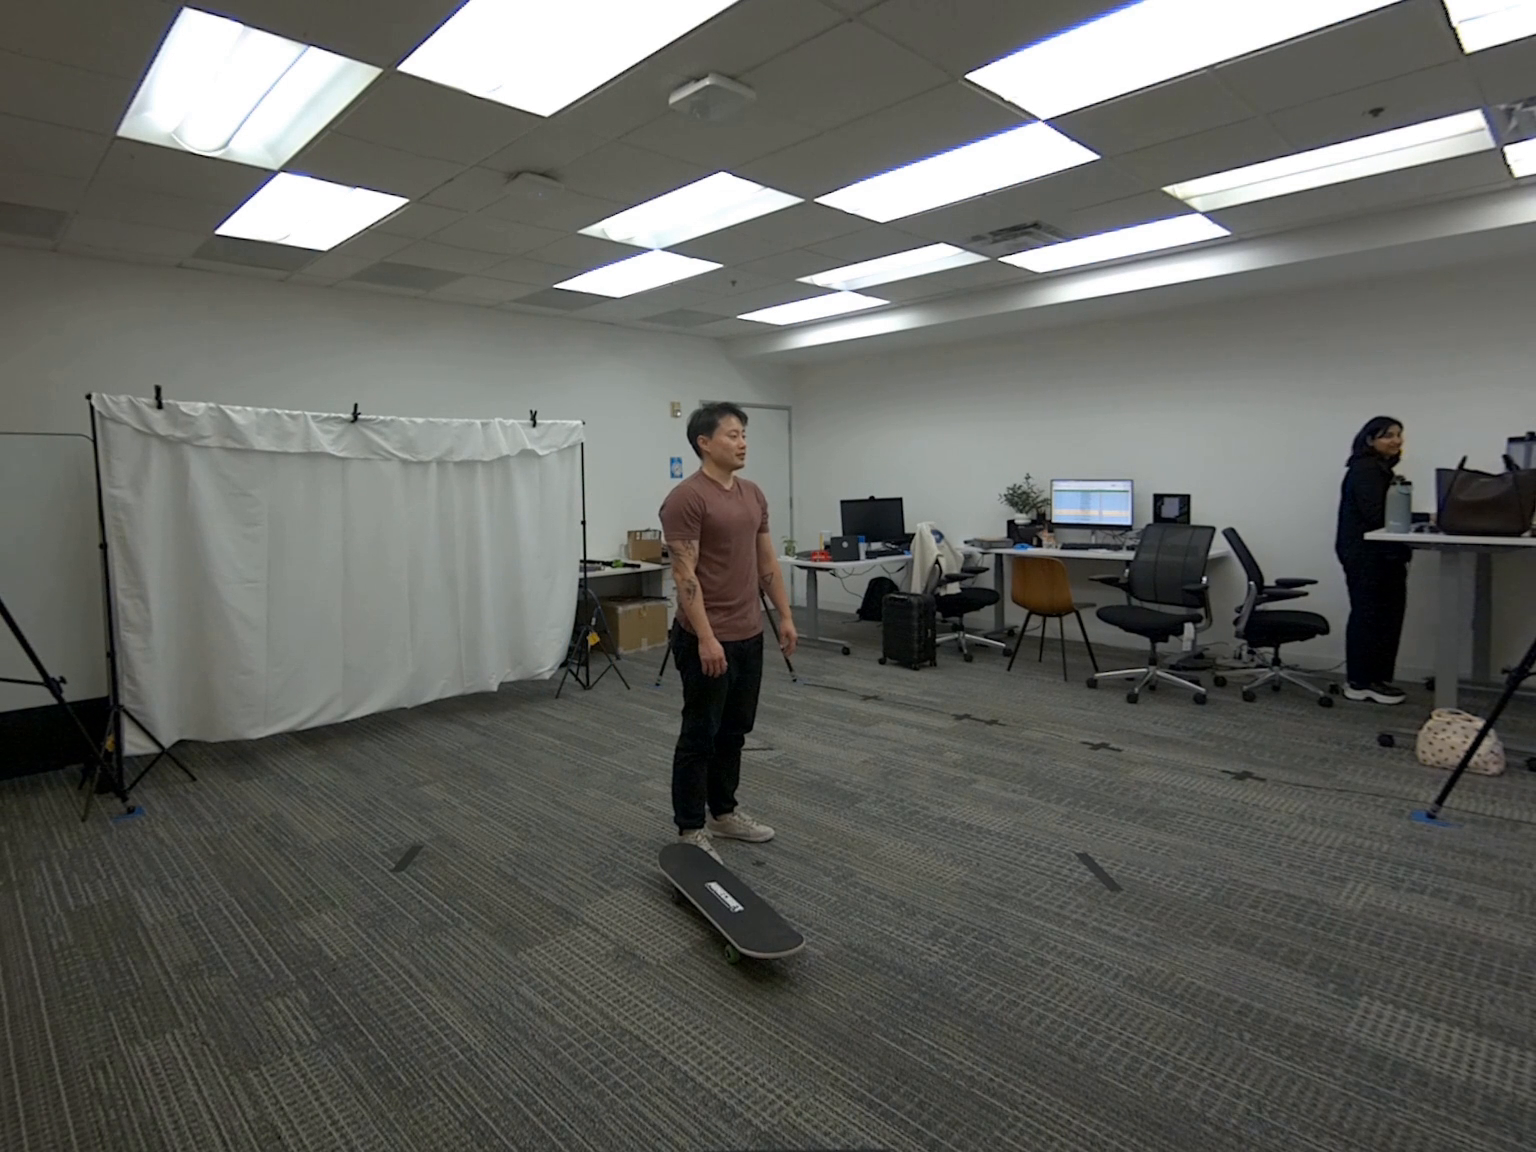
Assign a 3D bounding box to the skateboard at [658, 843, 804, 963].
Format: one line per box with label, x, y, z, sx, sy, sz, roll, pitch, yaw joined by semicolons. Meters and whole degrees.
skateboard;-0.135;1.048;2.689;0.189;0.110;0.807;-6;8;-29
